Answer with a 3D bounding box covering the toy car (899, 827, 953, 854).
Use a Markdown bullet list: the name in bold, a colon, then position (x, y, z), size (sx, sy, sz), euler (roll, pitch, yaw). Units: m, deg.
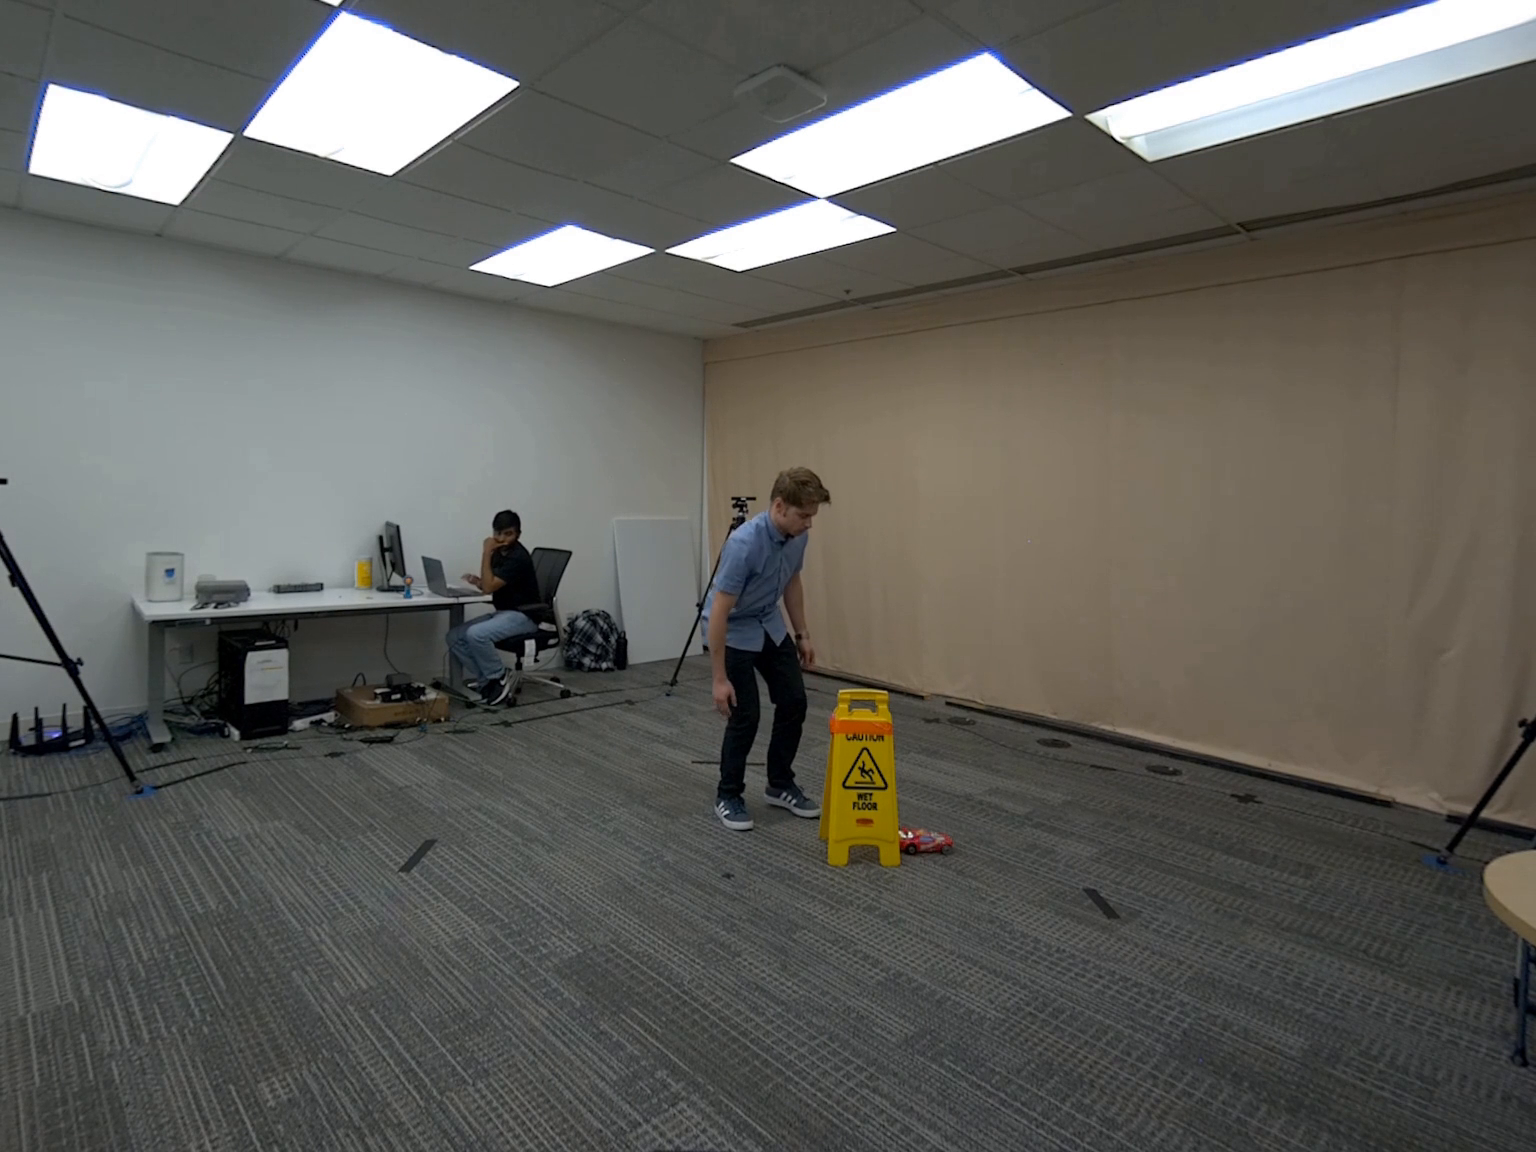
- **toy car**: position (0.603, 1.070, 3.383), size (0.253, 0.083, 0.131), euler (12, 4, -7)
